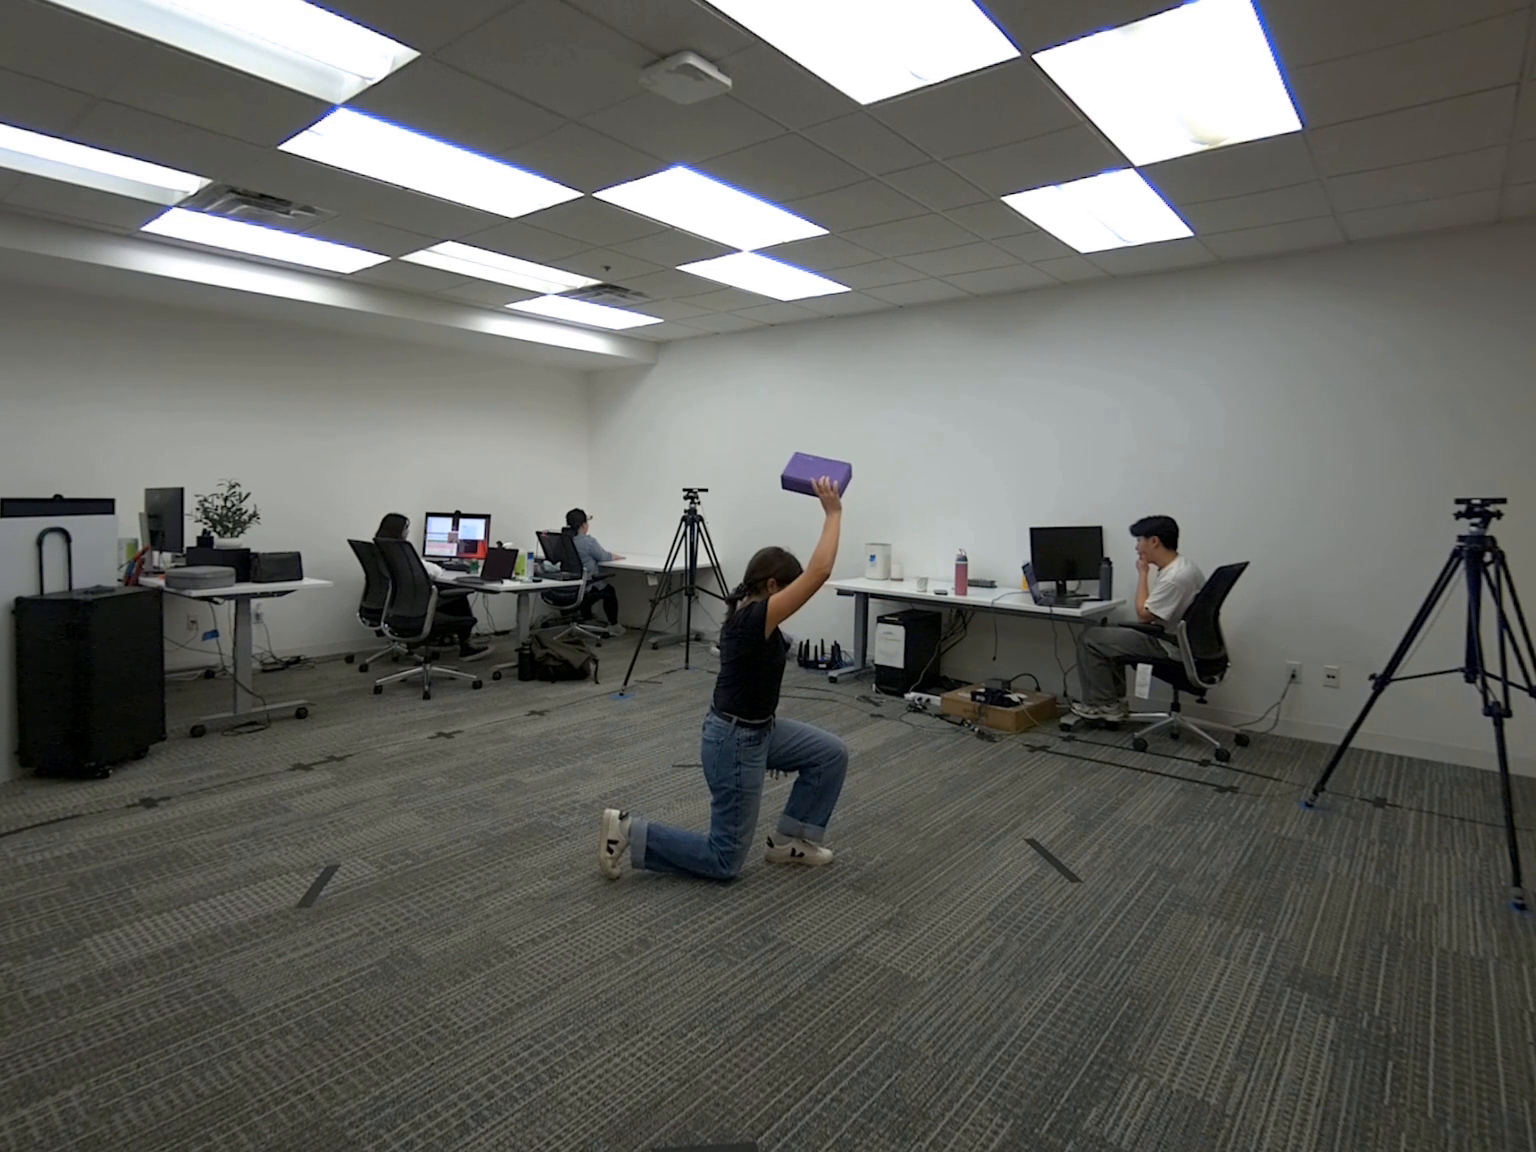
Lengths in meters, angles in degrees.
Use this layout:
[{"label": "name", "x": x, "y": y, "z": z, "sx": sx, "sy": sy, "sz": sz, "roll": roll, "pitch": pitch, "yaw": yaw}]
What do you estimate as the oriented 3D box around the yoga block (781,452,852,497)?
[{"label": "yoga block", "x": 0.198, "y": -0.374, "z": 3.145, "sx": 0.236, "sy": 0.074, "sz": 0.150, "roll": 16, "pitch": 53, "yaw": 22}]
